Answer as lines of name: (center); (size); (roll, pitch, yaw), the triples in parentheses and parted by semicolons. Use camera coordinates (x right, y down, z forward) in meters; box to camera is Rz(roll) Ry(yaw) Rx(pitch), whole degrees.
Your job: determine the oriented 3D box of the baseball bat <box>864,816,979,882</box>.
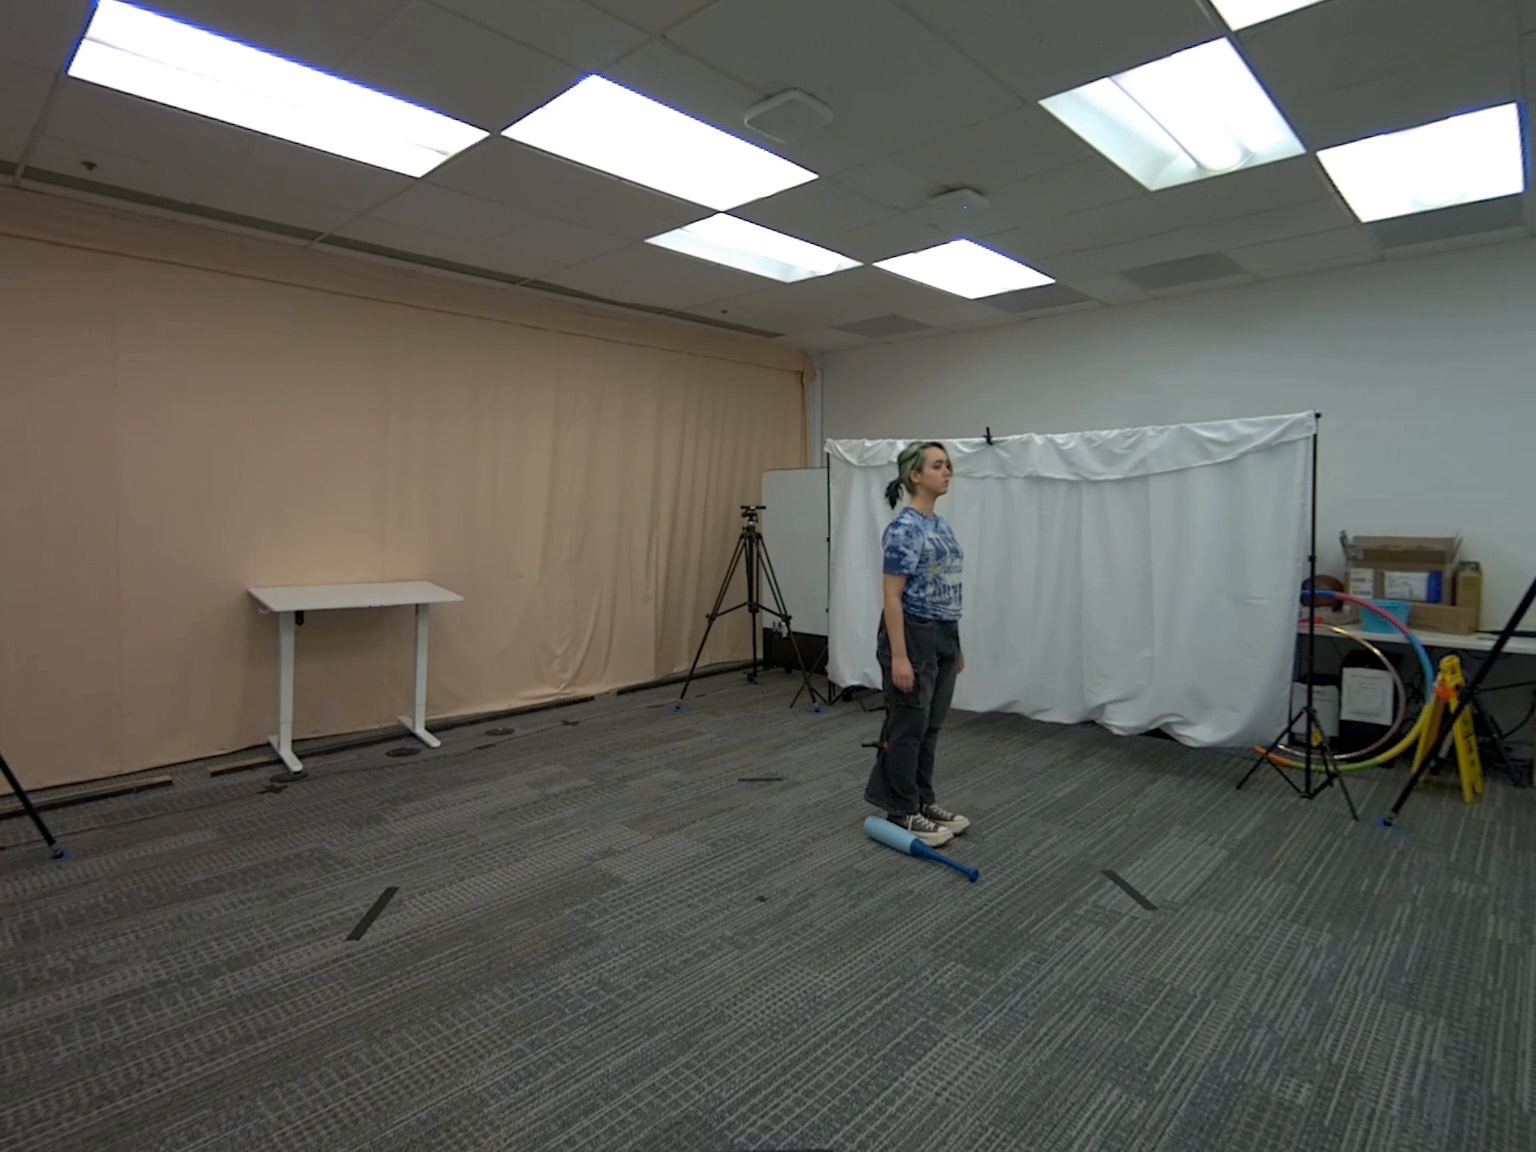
baseball bat: (0.601, 1.078, 3.333); (0.086, 0.089, 0.562); (-3, 8, -39)
